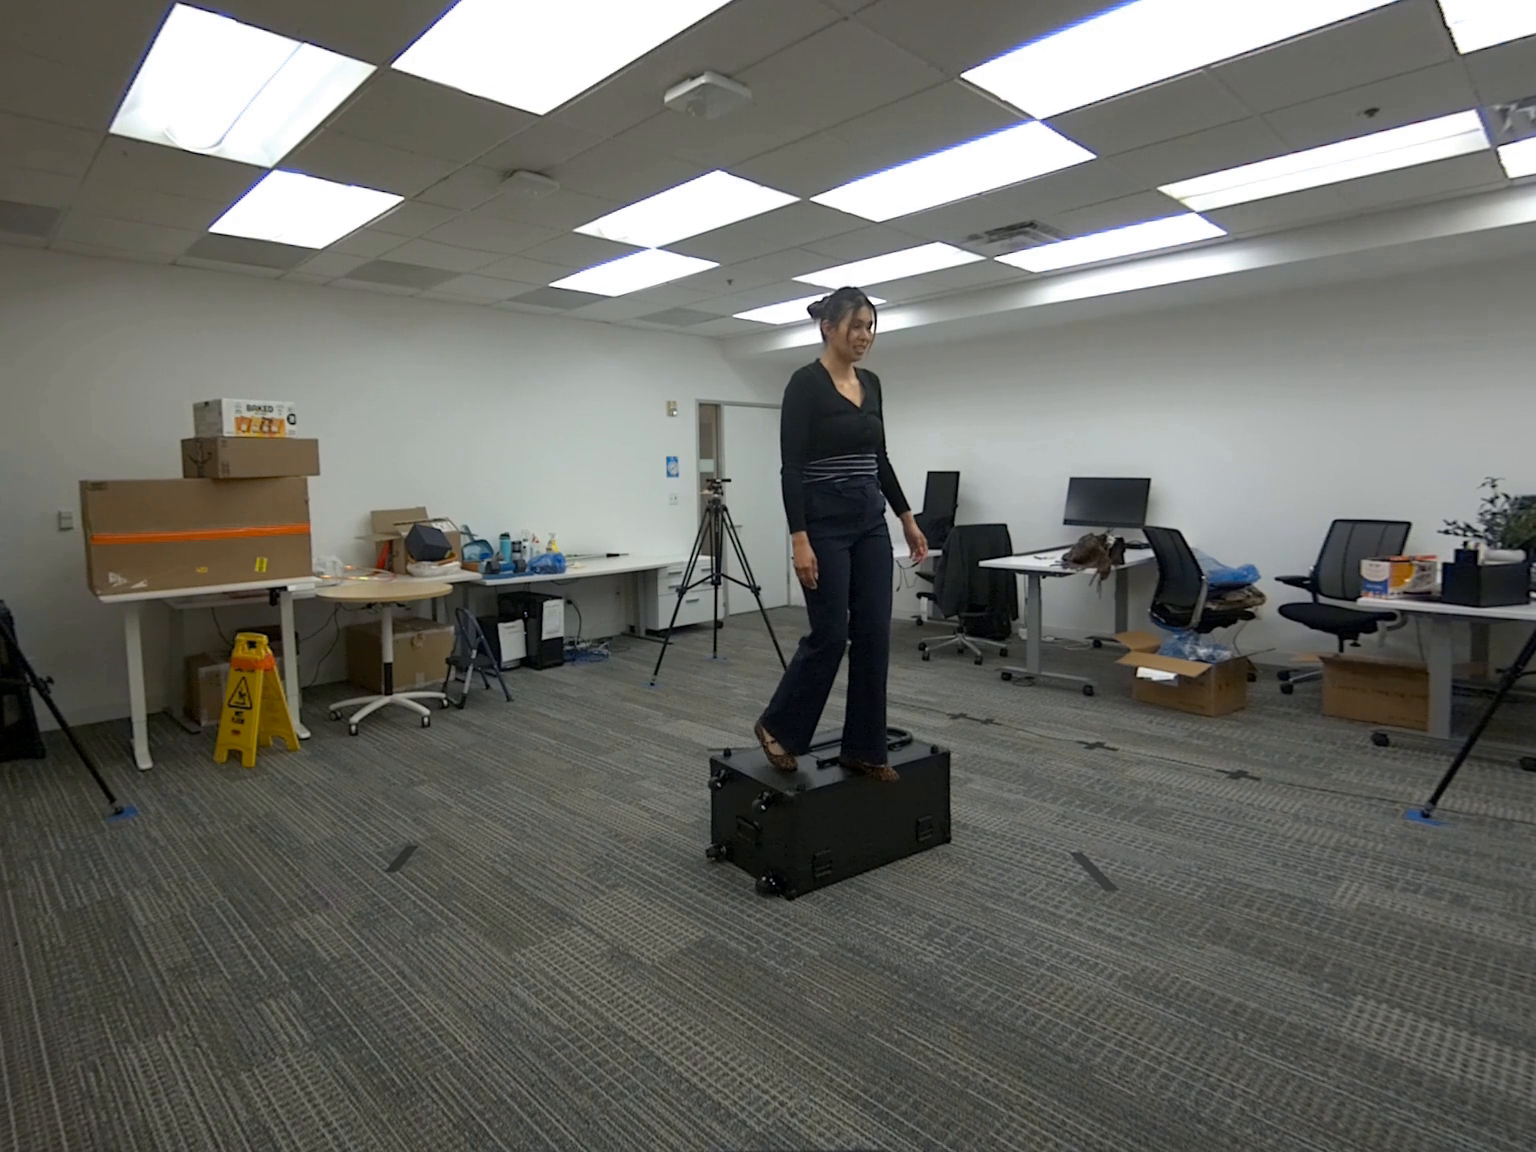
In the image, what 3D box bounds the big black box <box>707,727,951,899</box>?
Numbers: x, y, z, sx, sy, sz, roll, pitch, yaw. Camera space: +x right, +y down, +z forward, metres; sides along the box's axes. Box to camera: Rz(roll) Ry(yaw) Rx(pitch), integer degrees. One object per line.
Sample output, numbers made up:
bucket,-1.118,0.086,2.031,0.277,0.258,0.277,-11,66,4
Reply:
big black box,0.263,0.850,3.241,0.840,0.394,0.537,-5,7,-35
